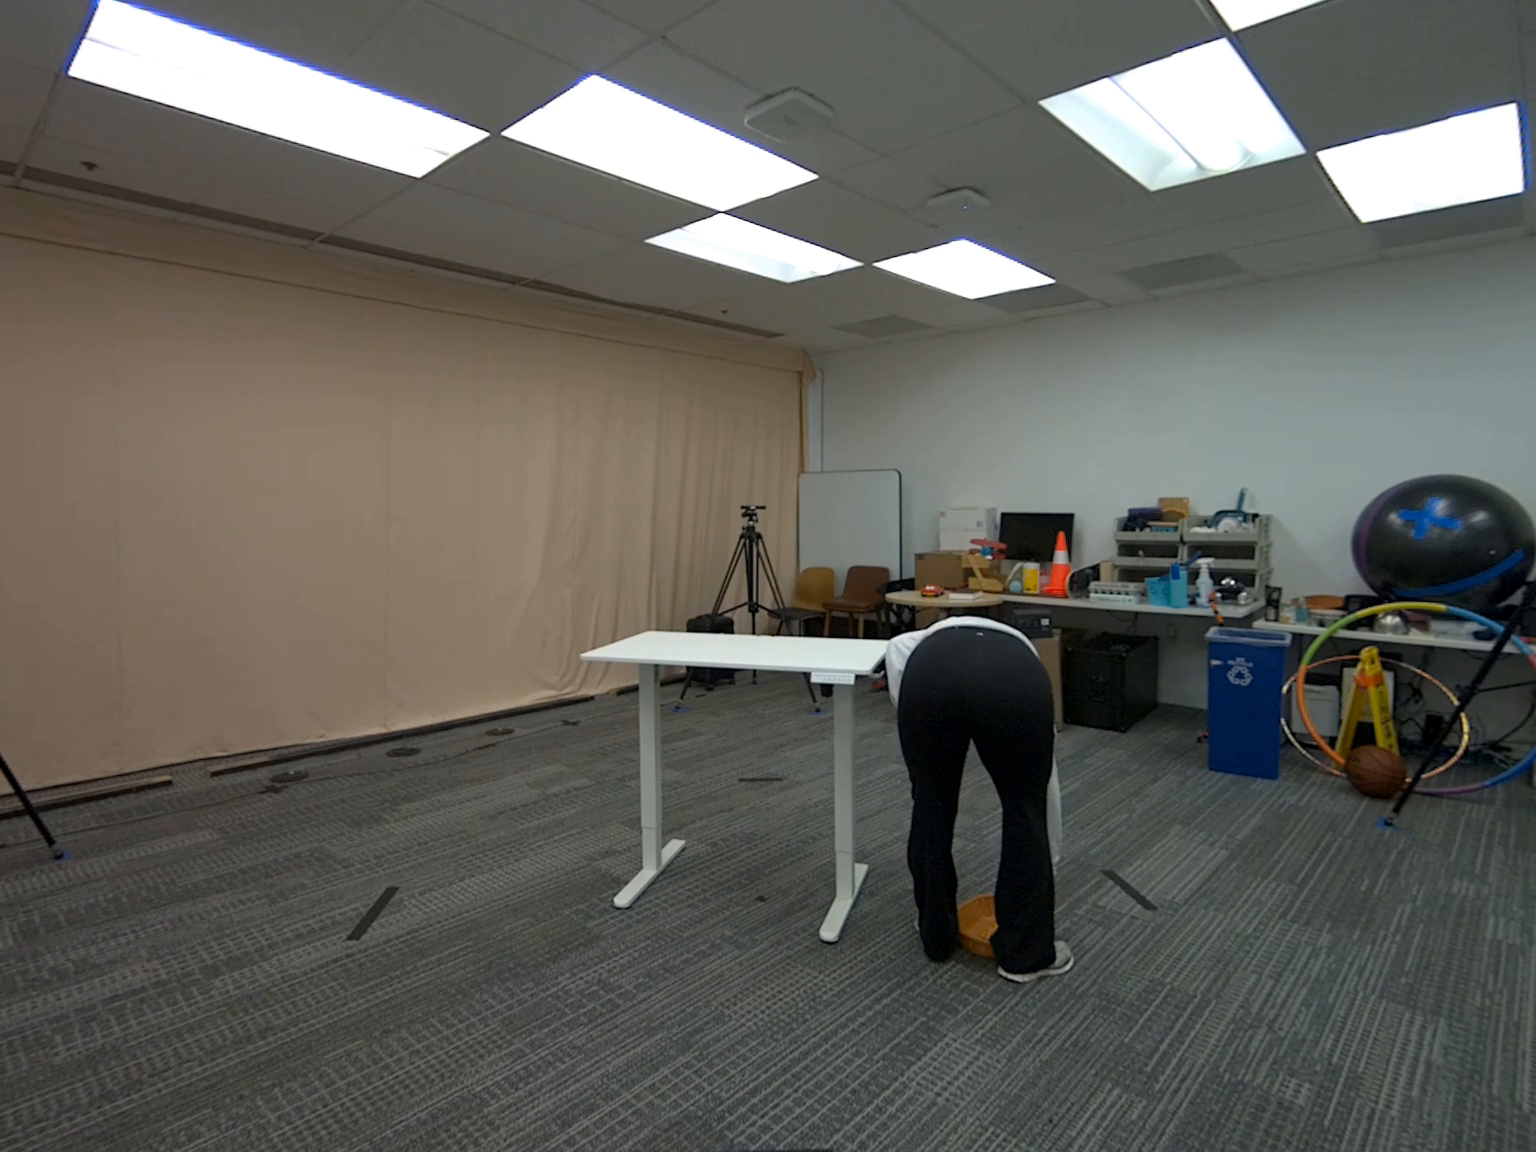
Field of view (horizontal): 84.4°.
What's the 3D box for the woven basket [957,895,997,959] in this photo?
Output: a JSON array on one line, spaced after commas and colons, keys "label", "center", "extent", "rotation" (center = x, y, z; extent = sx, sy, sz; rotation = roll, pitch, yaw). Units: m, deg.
[{"label": "woven basket", "center": [0.747, 1.113, 2.699], "extent": [0.340, 0.073, 0.261], "rotation": [-5, 7, -39]}]
